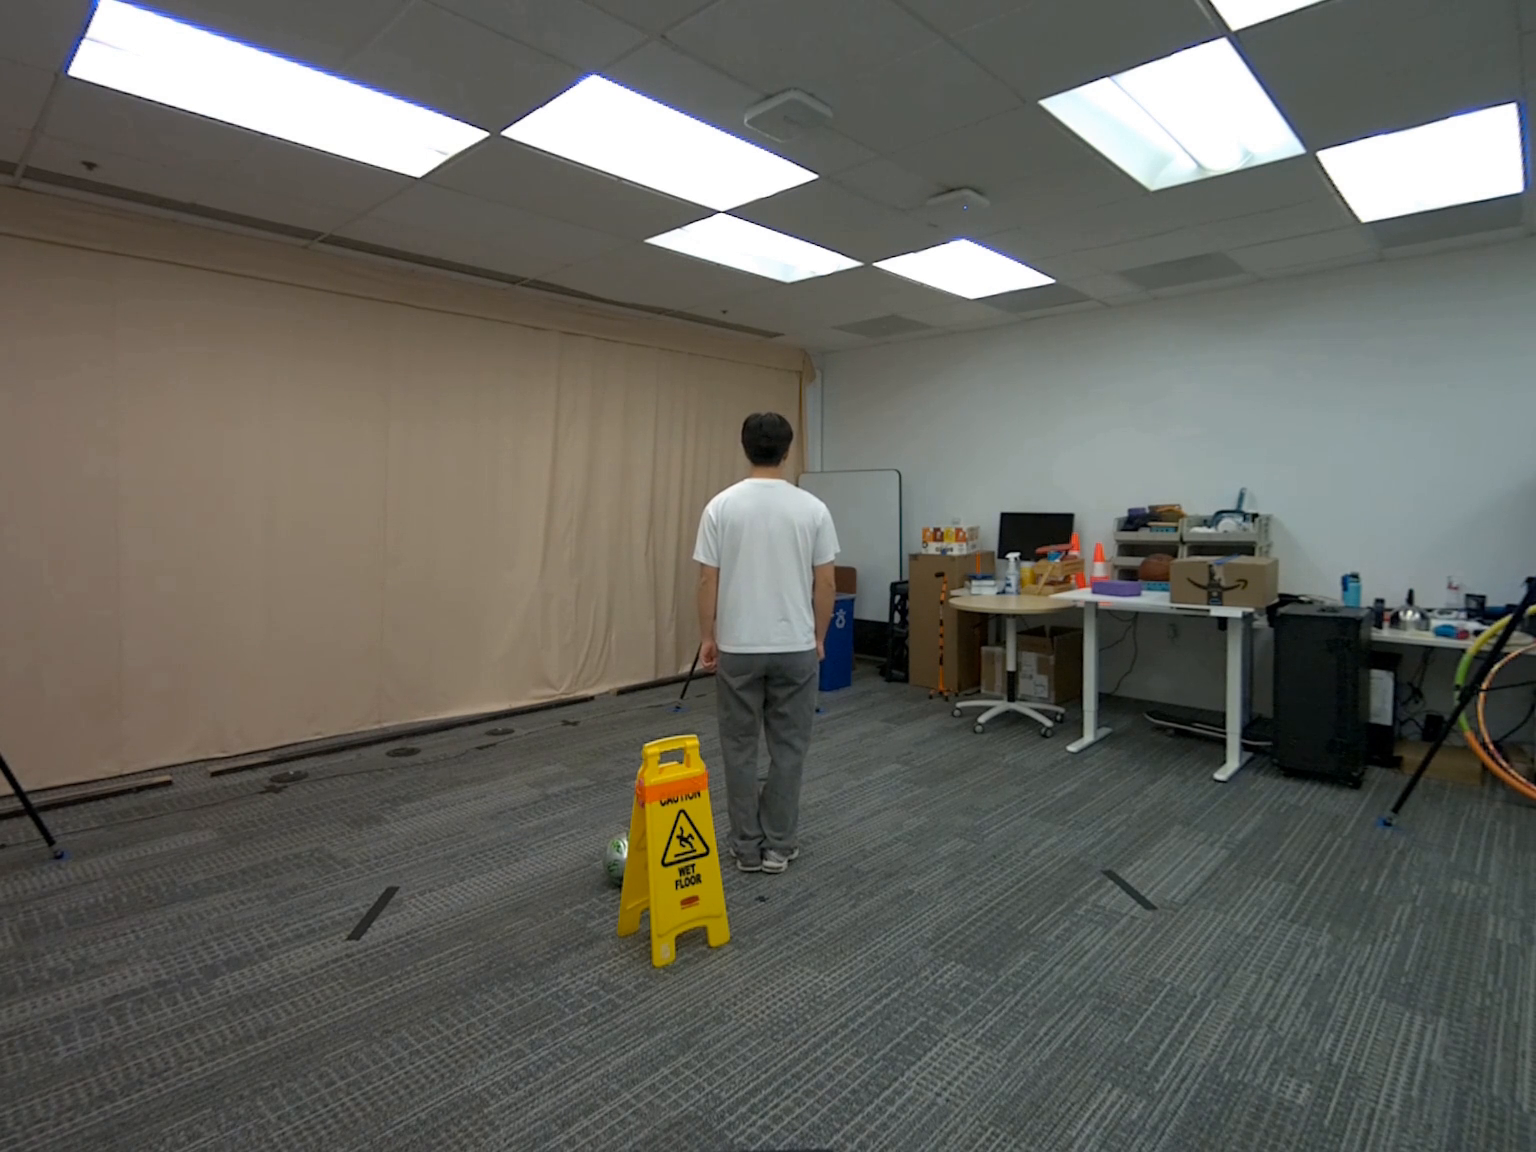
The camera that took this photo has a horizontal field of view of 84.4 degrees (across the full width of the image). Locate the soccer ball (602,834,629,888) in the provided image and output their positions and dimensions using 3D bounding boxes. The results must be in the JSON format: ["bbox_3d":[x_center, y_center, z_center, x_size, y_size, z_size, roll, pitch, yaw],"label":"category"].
[{"bbox_3d":[-0.514,1.054,3.101,0.187,0.187,0.188,0,4,-2],"label":"soccer ball"}]
